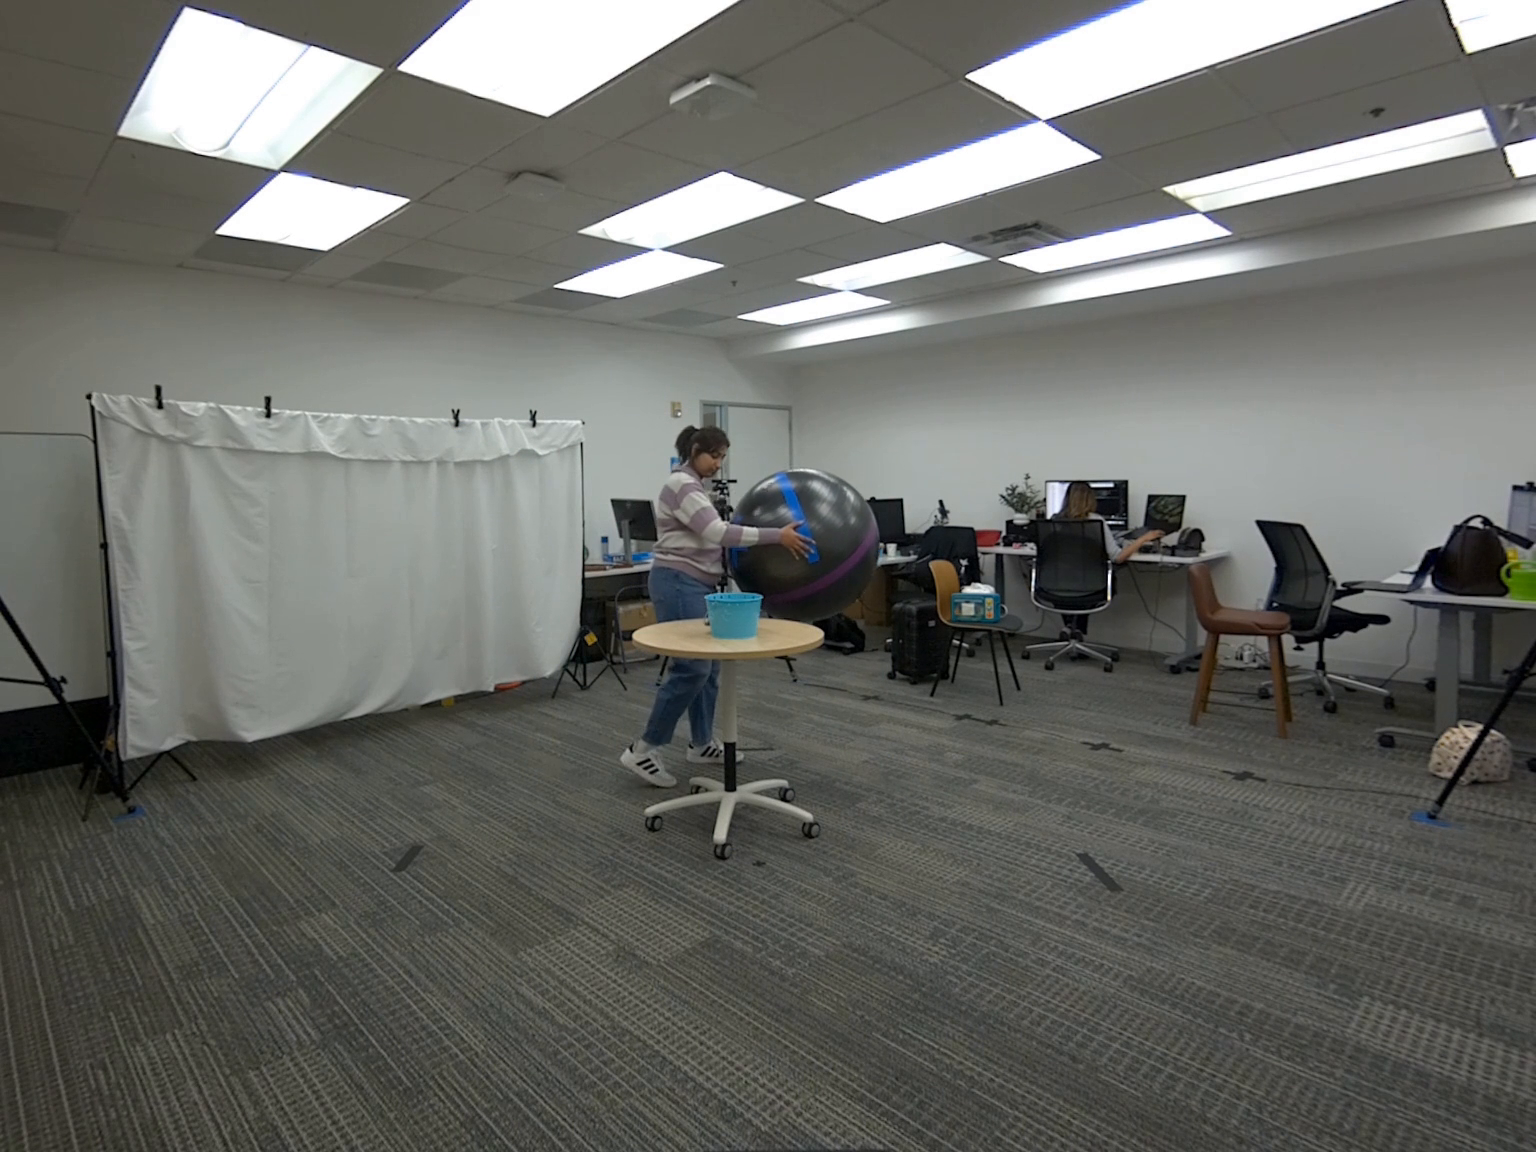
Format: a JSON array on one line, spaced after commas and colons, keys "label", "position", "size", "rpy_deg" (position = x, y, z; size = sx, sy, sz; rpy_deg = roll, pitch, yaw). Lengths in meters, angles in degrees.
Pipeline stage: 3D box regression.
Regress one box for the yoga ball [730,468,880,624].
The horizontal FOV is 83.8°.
[{"label": "yoga ball", "position": [0.162, -0.147, 4.252], "size": [0.757, 0.755, 0.762], "rpy_deg": [-1, 5, -2]}]
